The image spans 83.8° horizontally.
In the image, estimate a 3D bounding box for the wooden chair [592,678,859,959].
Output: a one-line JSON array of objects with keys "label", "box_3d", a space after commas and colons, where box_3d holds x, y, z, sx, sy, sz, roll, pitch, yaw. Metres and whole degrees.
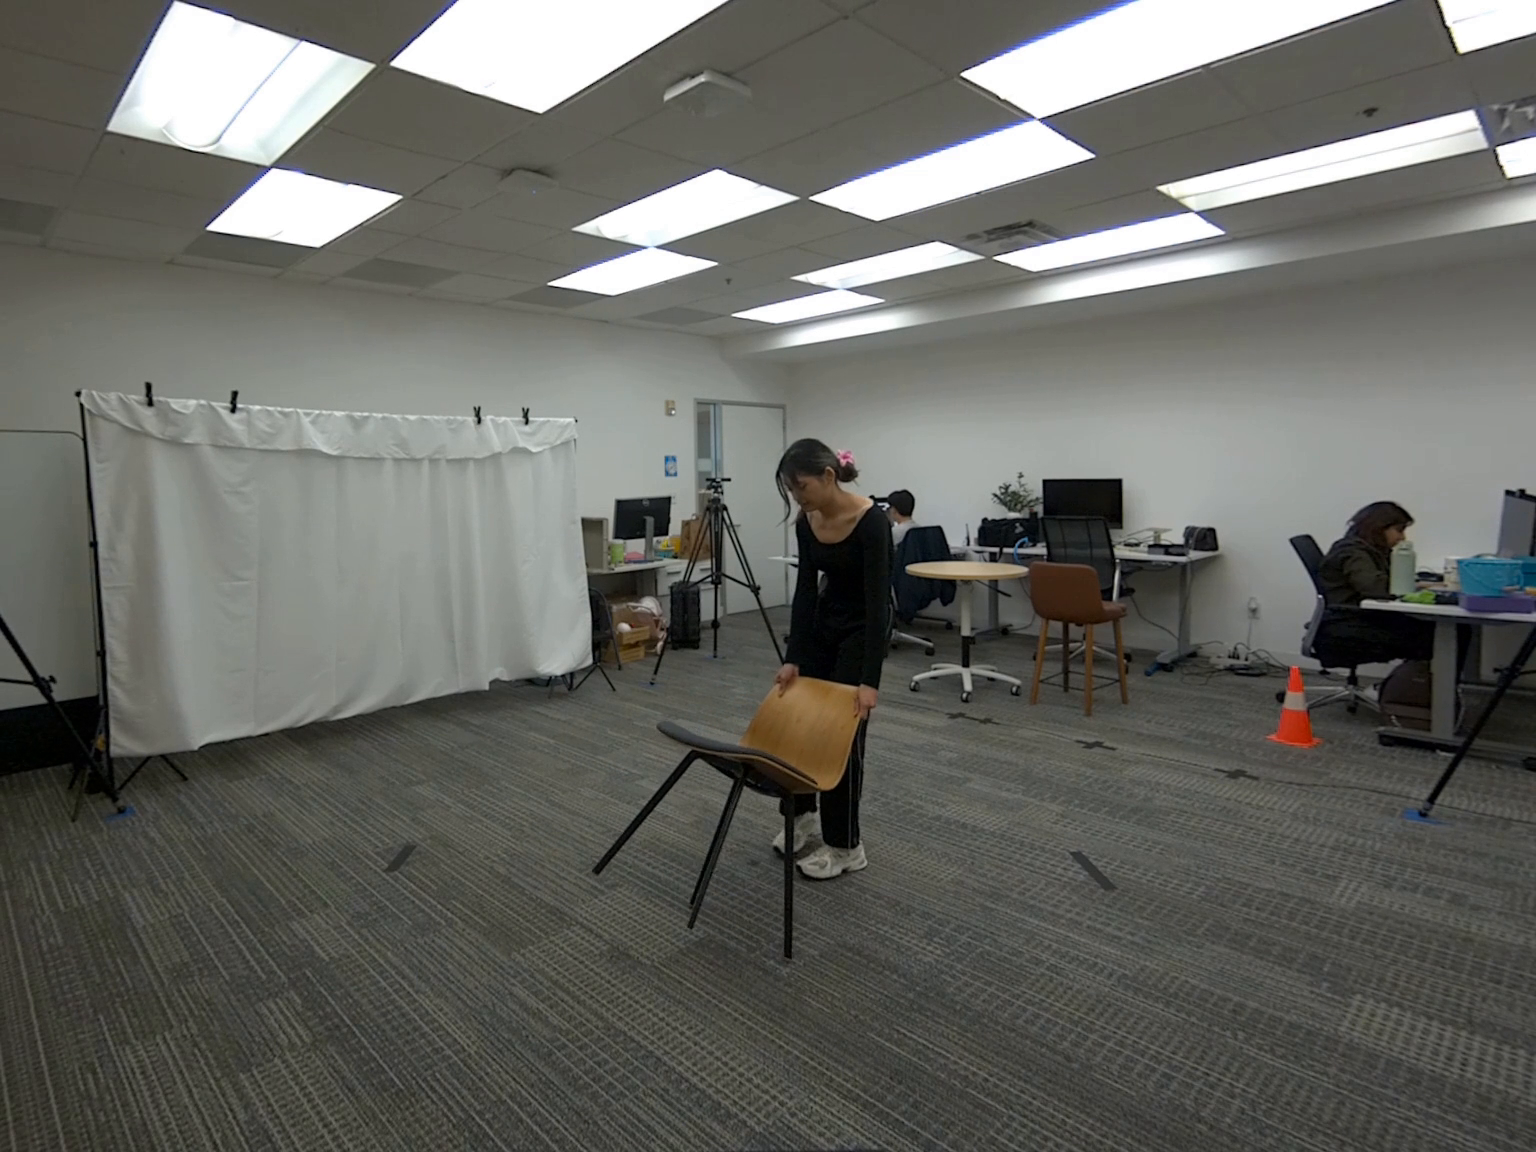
[{"label": "wooden chair", "box_3d": [-0.077, 0.605, 2.630, 0.493, 0.884, 0.503, 4, -29, 46]}]
